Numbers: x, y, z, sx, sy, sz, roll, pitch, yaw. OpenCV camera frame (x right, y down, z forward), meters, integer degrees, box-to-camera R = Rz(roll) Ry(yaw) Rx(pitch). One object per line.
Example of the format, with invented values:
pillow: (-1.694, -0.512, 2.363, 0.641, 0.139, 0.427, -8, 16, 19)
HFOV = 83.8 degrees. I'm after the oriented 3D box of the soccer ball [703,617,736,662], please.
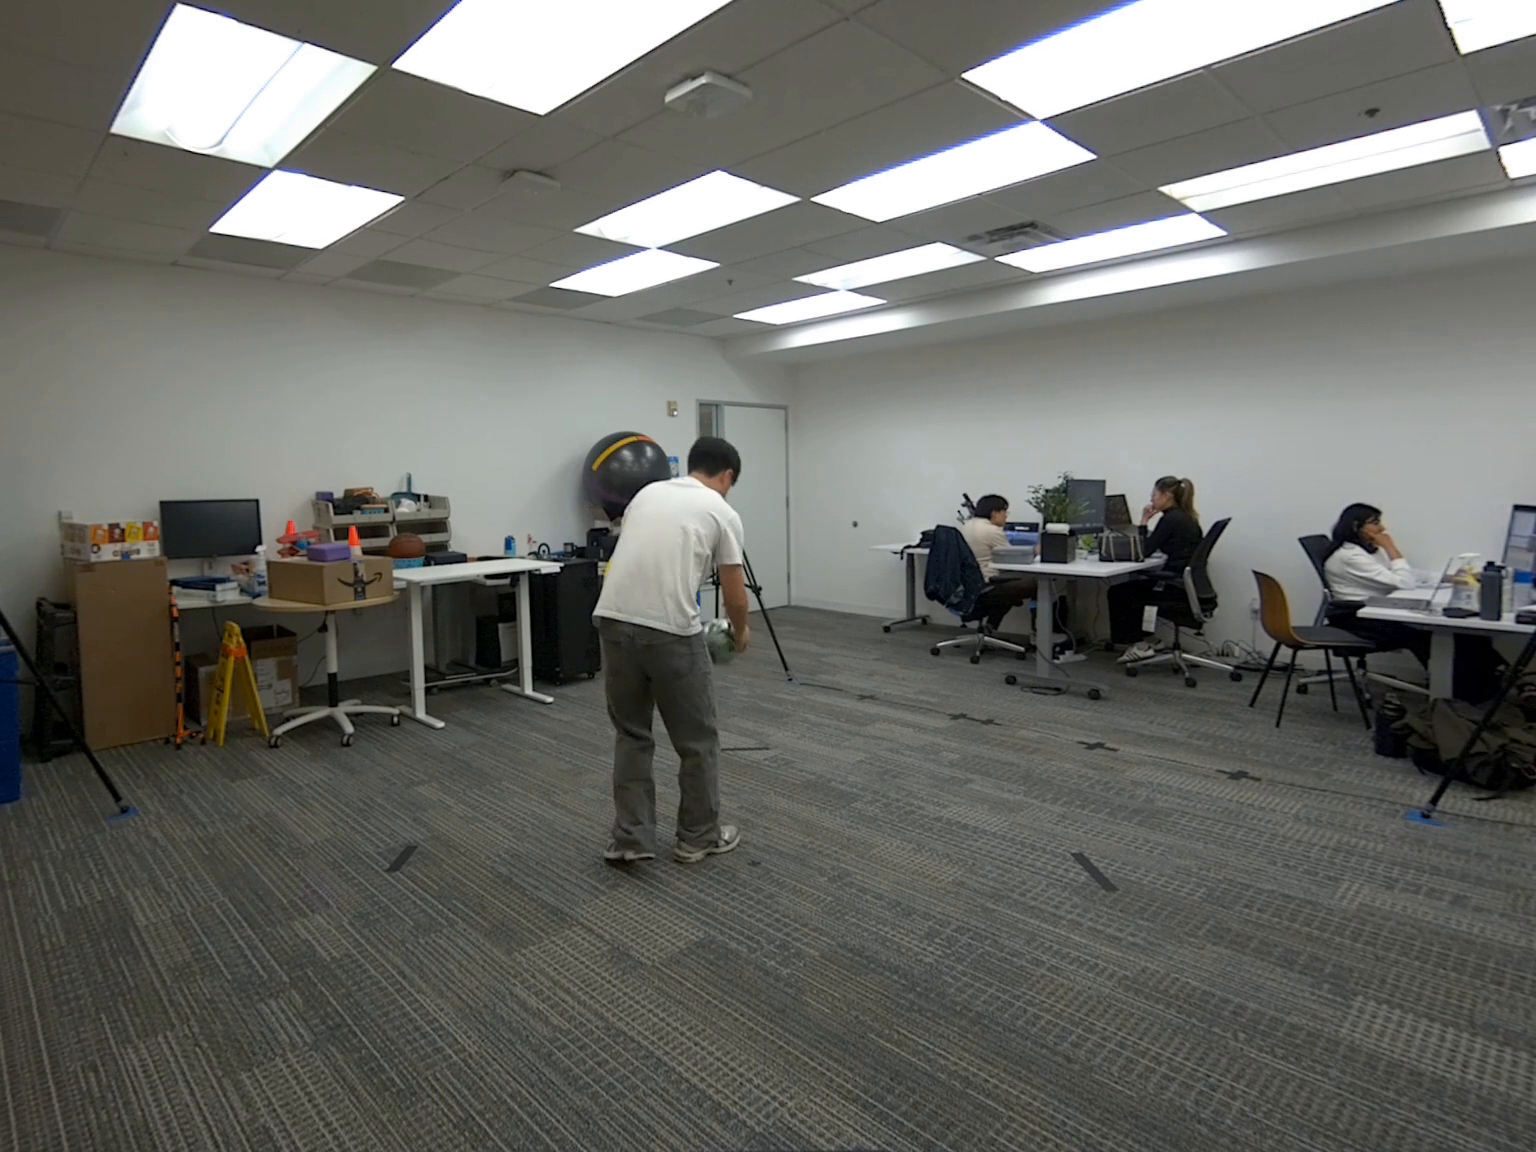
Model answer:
soccer ball: (-0.218, 0.202, 3.494, 0.187, 0.187, 0.188, -1, 5, -2)
